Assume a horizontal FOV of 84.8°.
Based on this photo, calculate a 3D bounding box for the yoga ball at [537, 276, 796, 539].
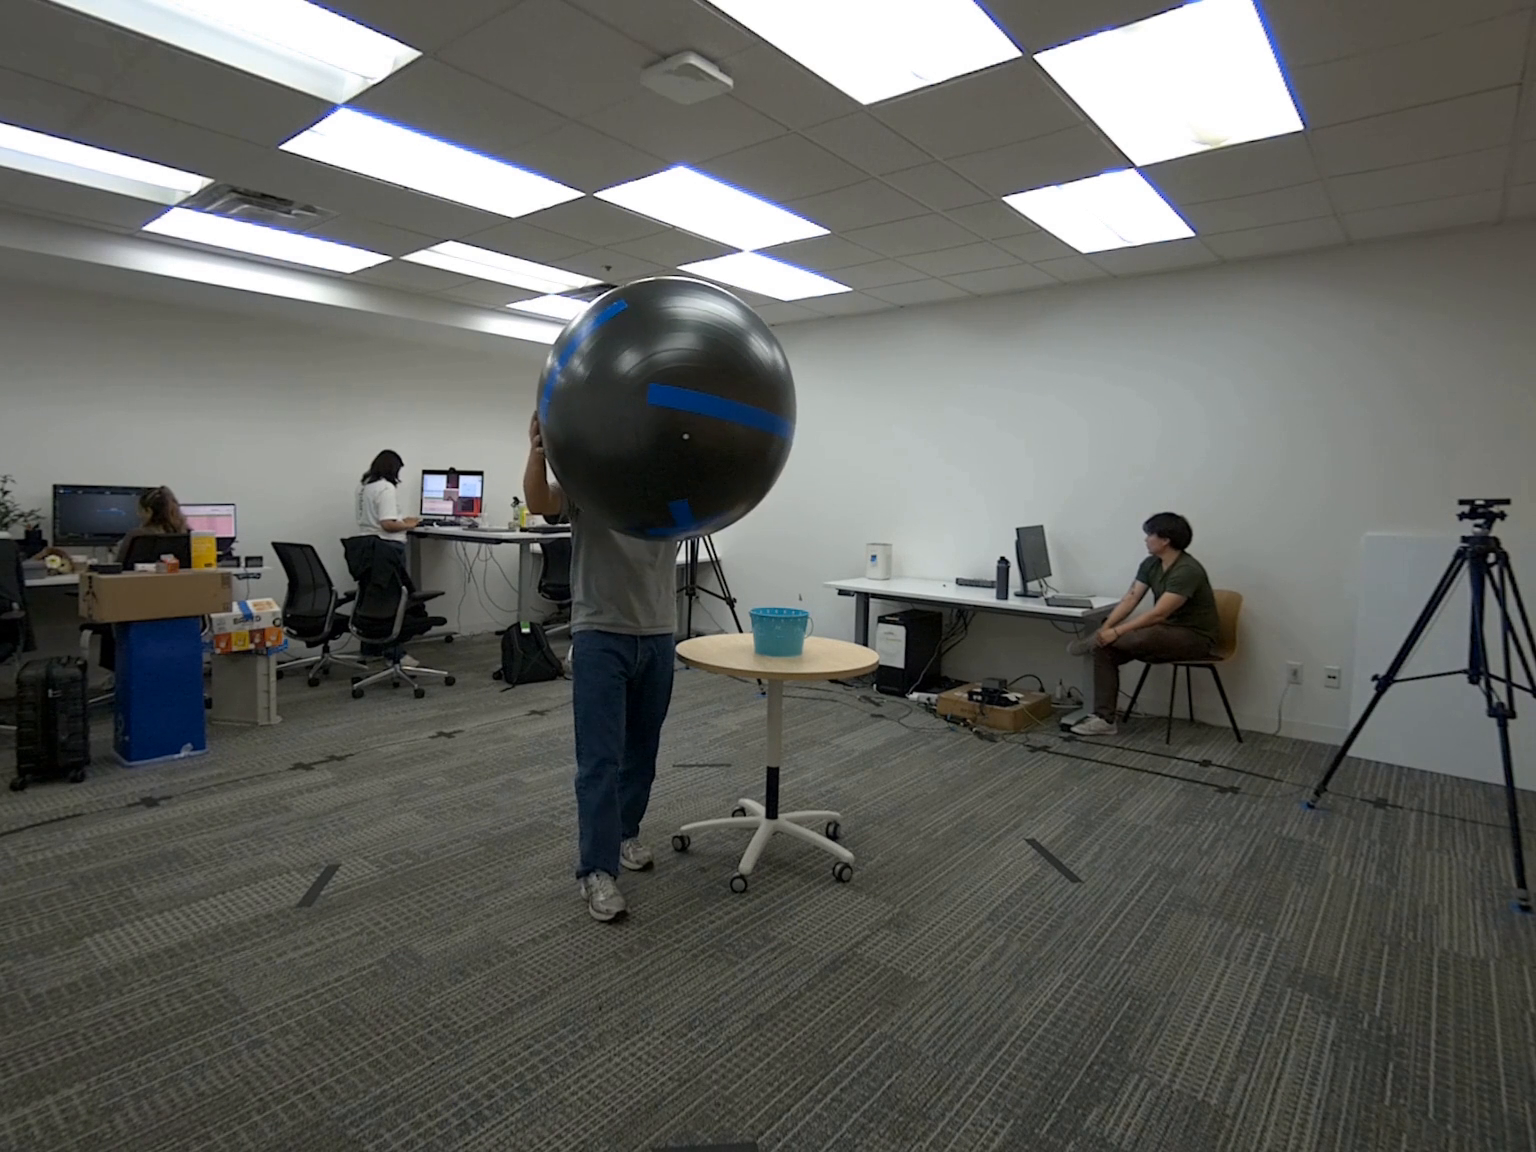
[{"bbox_3d":[-0.301,-0.477,2.494,0.757,0.755,0.762,1,4,-2],"label":"yoga ball"}]
